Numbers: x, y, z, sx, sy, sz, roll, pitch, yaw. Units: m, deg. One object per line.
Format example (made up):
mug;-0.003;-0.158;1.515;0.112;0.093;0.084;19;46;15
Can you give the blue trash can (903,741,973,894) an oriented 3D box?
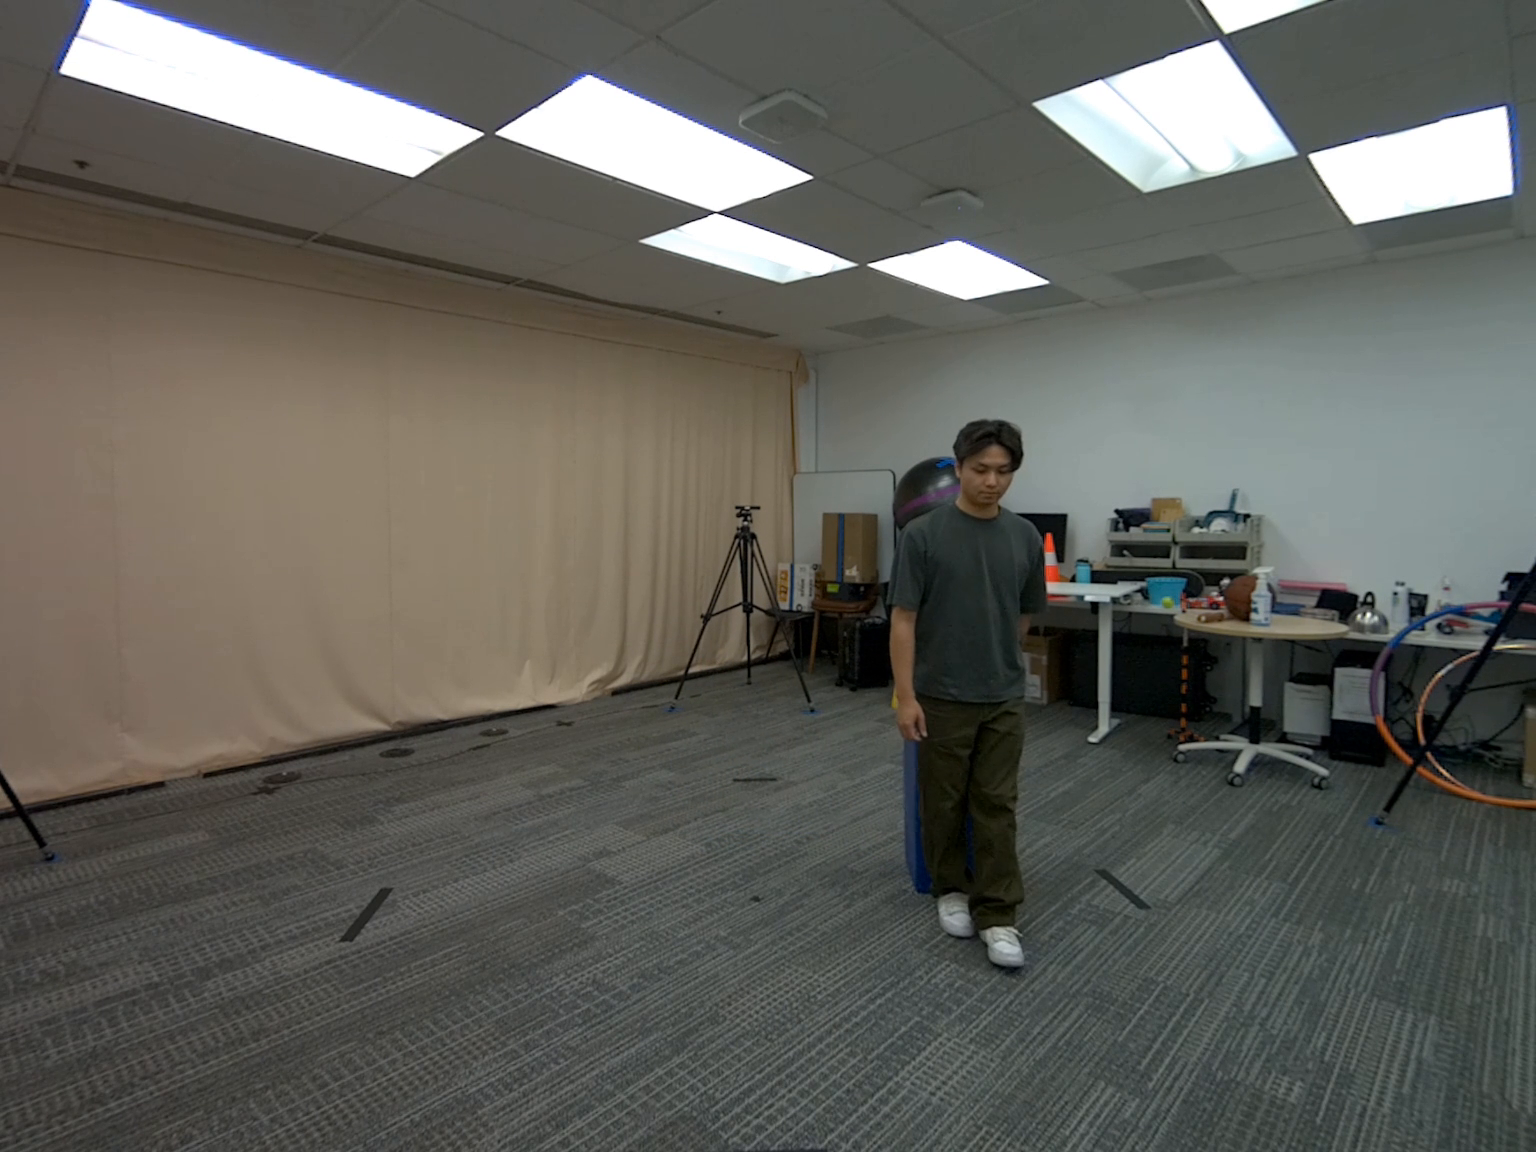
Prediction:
blue trash can;0.706;0.771;3.146;0.376;0.712;0.377;0;3;3
